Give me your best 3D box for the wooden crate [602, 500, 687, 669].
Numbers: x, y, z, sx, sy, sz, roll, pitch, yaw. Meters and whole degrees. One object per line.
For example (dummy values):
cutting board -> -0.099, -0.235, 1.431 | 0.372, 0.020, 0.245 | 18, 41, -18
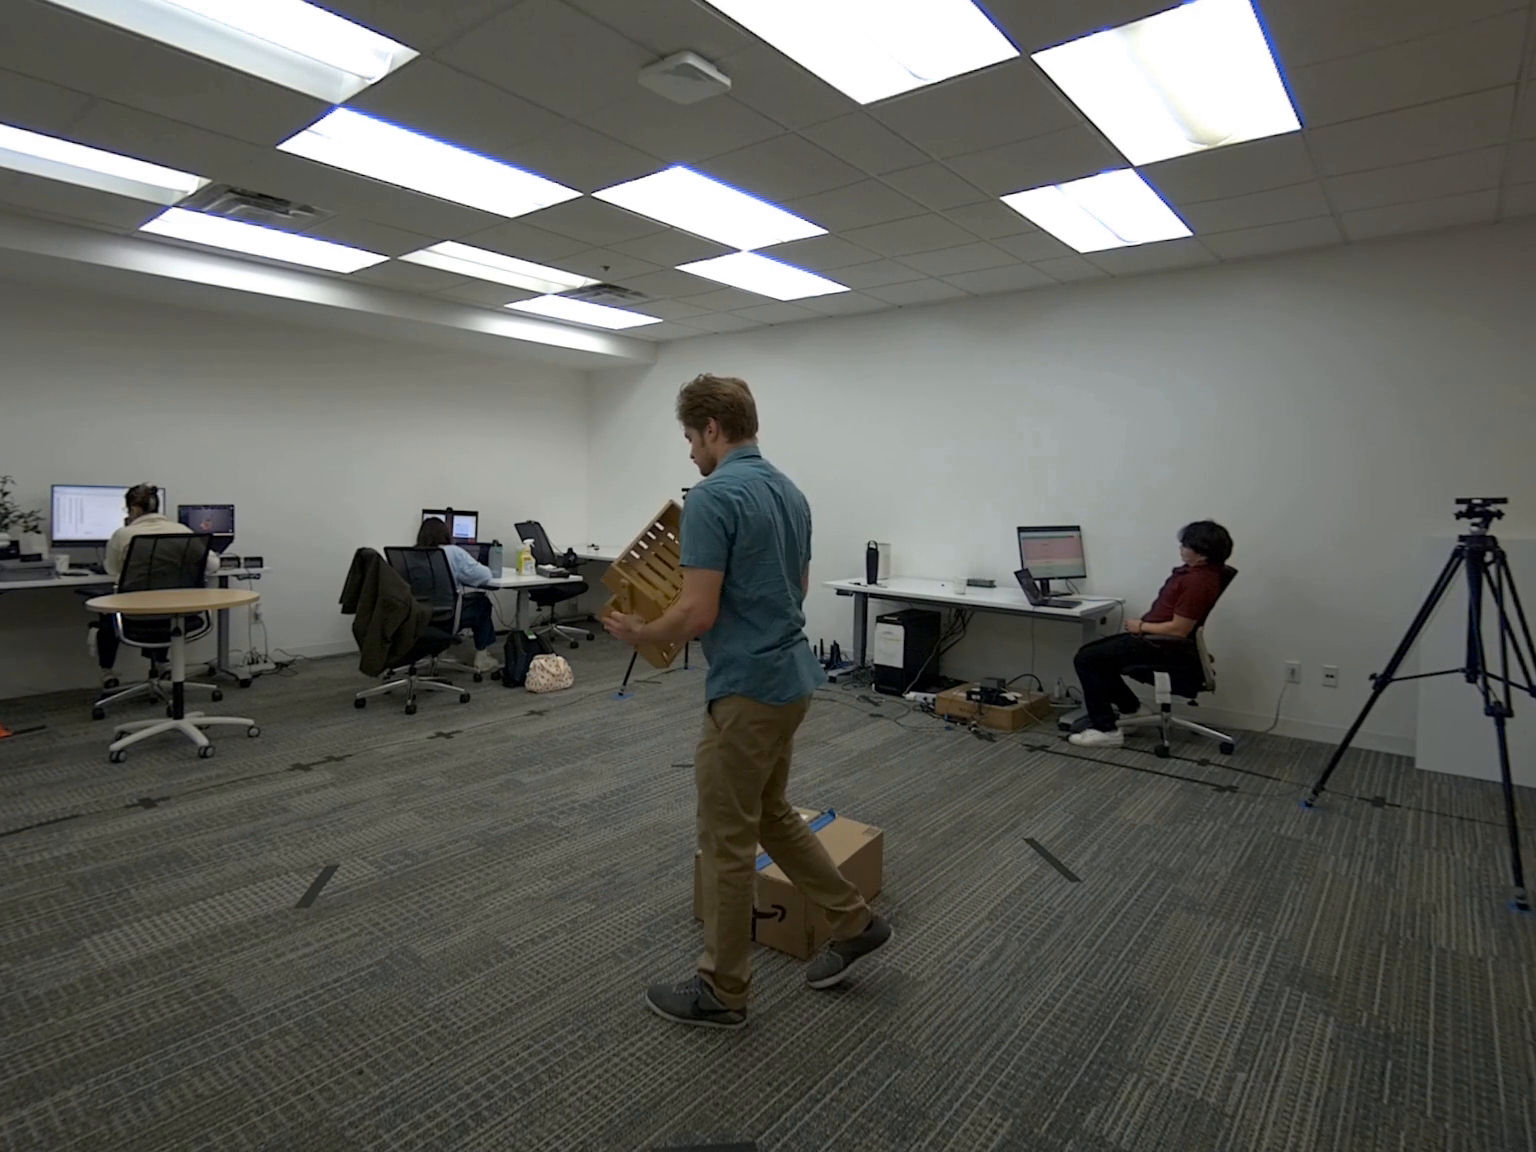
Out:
wooden crate -> -0.287, 0.028, 2.409 | 0.325, 0.301, 0.273 | -53, 4, -38
